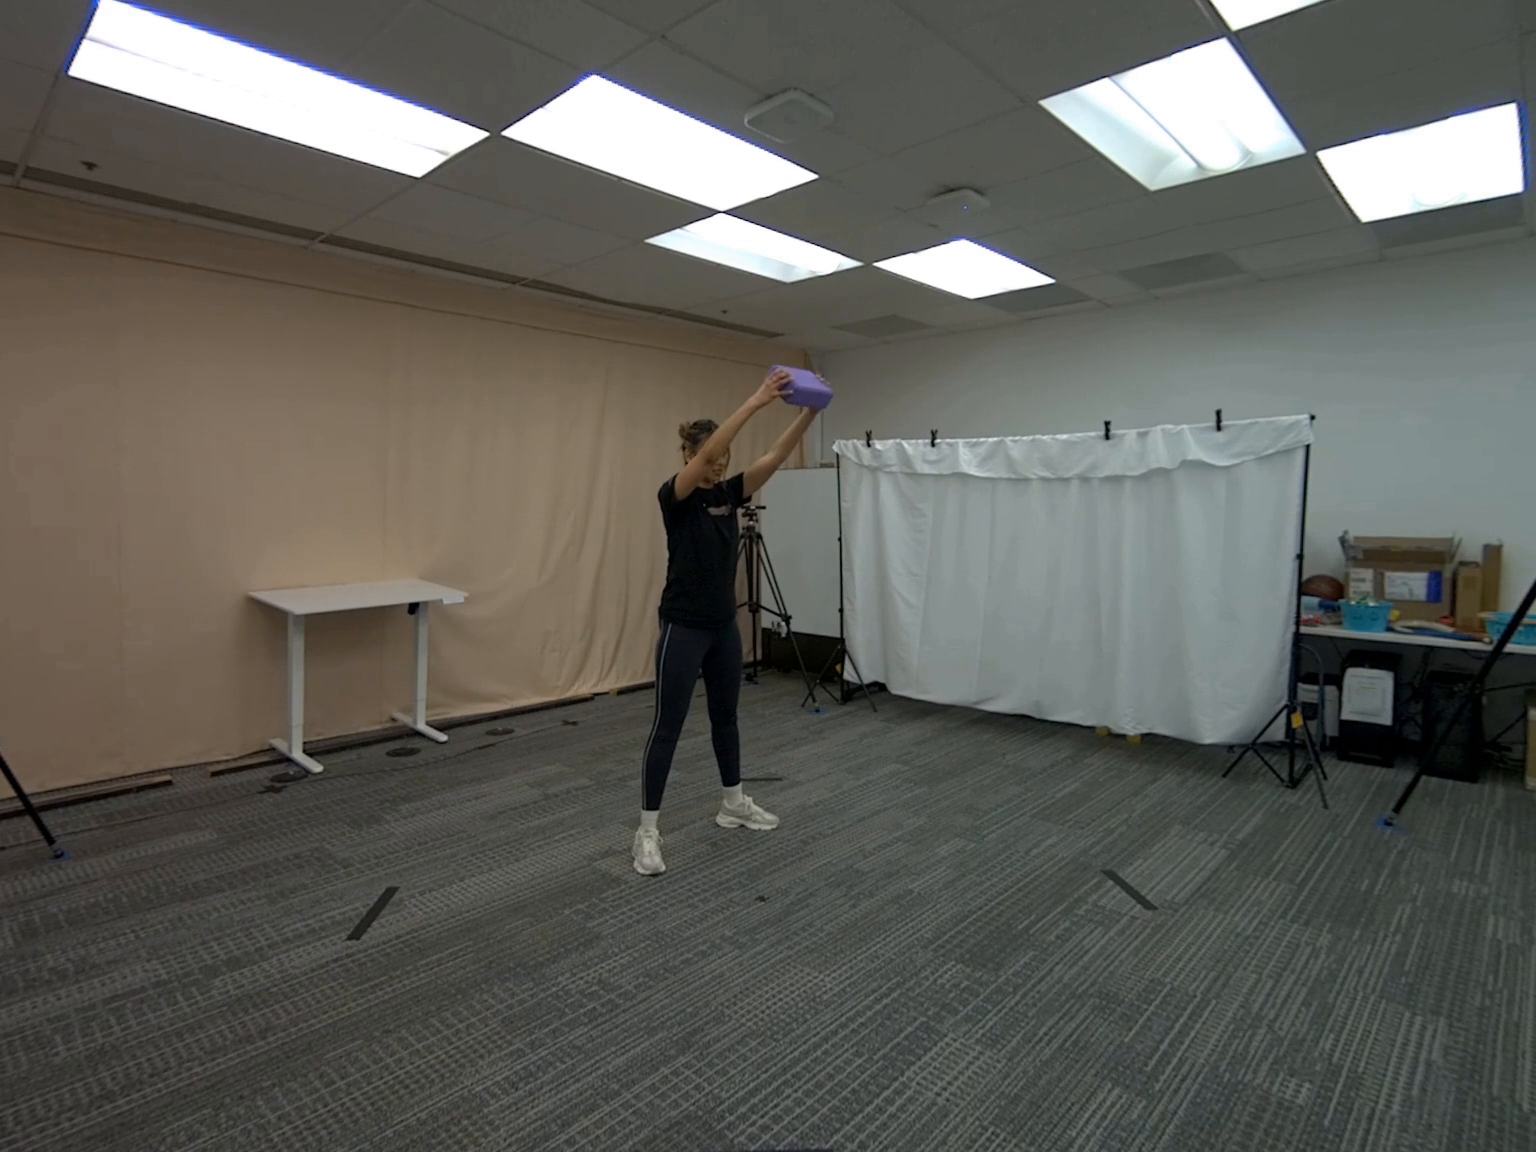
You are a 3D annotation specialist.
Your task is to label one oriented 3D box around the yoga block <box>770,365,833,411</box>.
[{"bbox_3d":[0.118,-0.674,3.025,0.222,0.076,0.153,-4,44,-48],"label":"yoga block"}]
